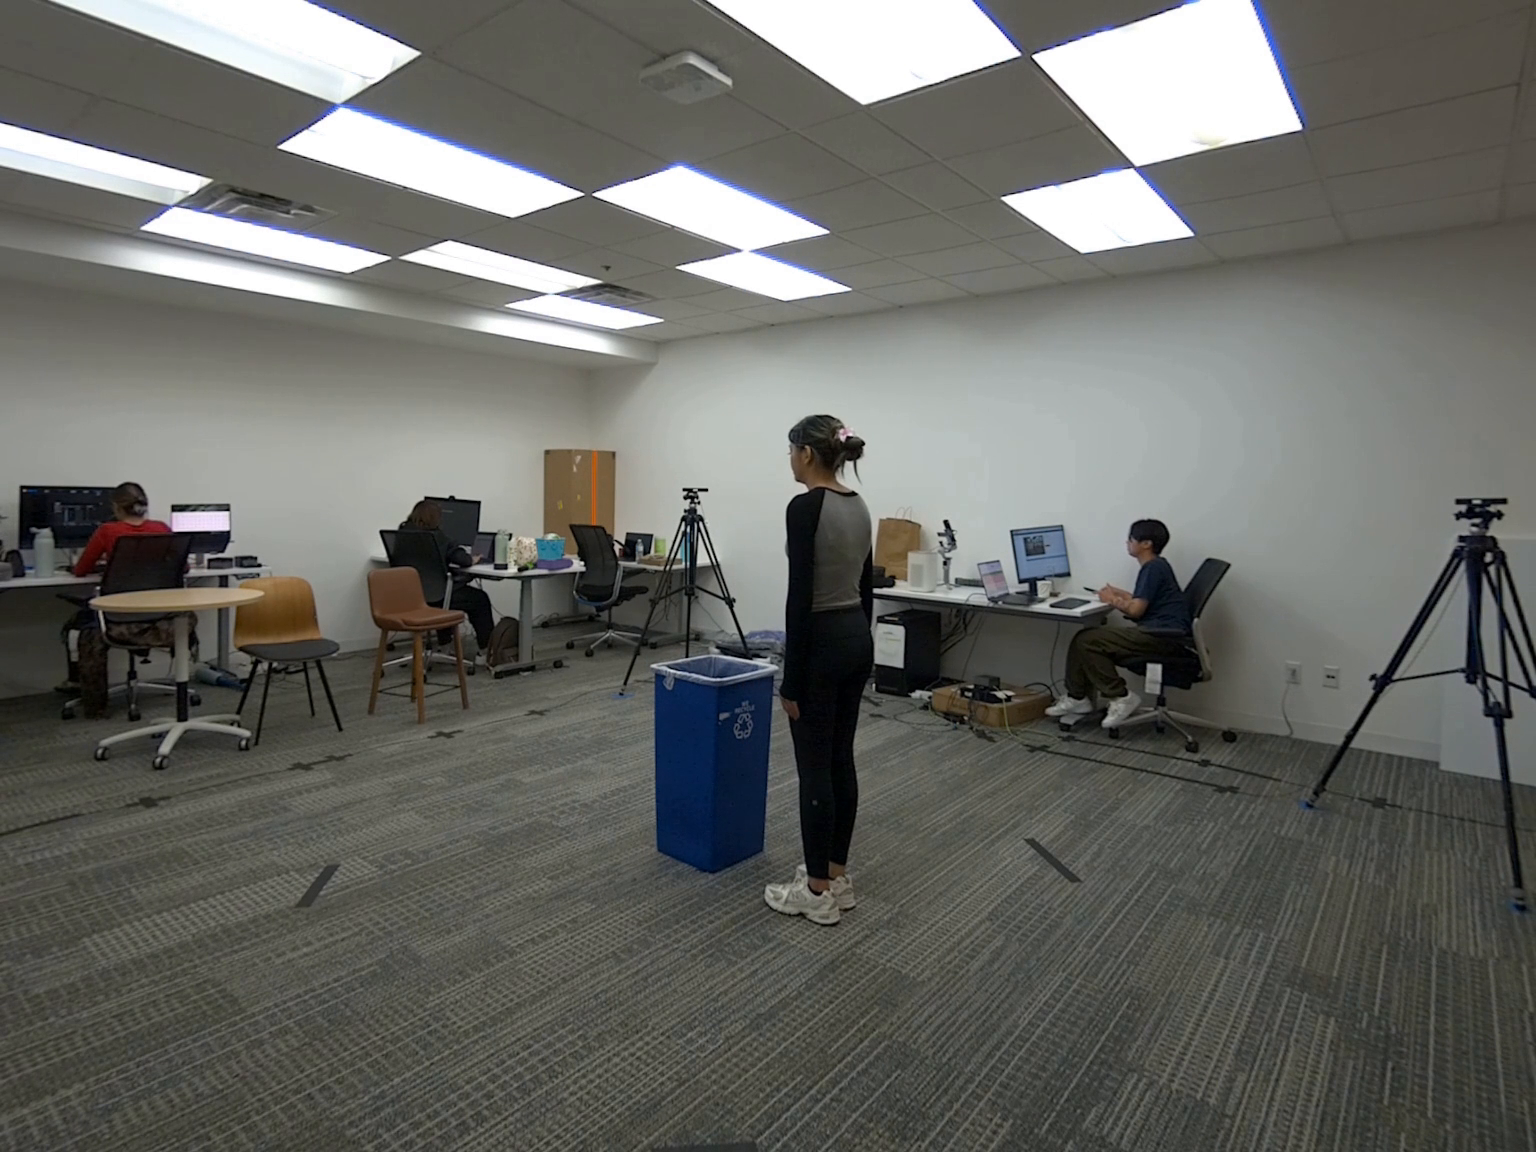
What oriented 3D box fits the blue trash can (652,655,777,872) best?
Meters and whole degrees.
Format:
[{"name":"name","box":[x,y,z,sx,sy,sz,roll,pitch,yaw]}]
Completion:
[{"name":"blue trash can","box":[-0.222,0.696,3.267,0.391,0.711,0.363,4,4,40]}]
